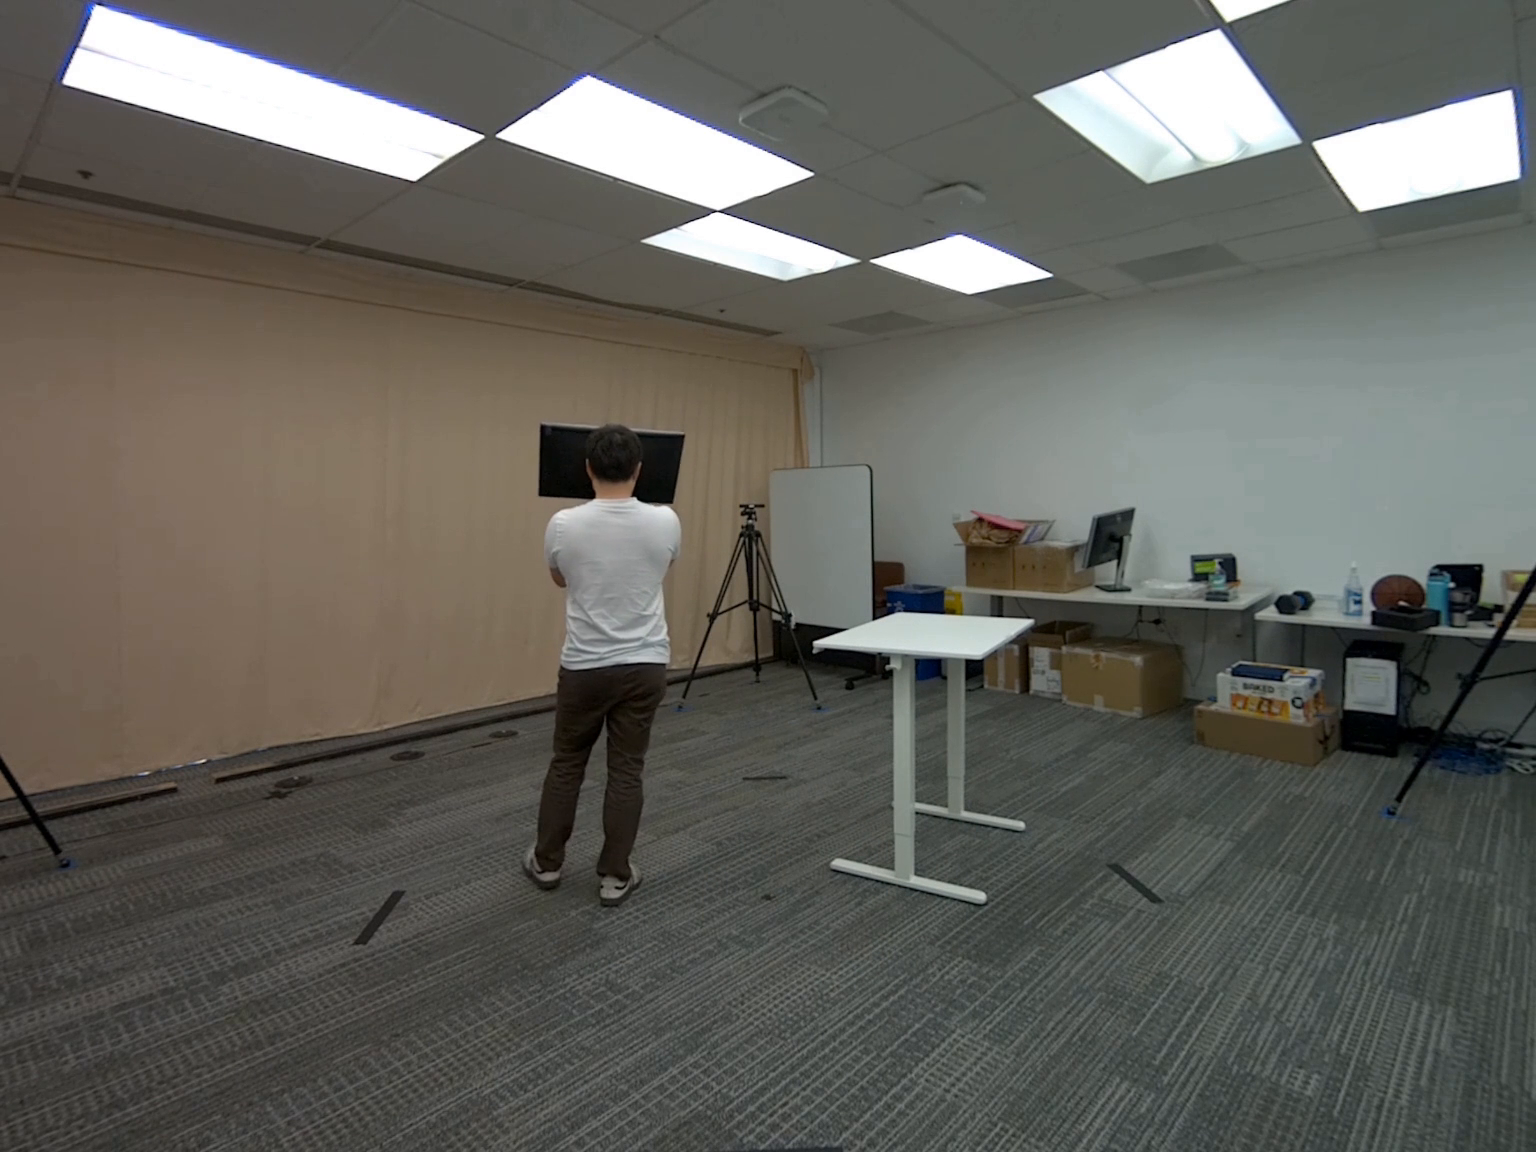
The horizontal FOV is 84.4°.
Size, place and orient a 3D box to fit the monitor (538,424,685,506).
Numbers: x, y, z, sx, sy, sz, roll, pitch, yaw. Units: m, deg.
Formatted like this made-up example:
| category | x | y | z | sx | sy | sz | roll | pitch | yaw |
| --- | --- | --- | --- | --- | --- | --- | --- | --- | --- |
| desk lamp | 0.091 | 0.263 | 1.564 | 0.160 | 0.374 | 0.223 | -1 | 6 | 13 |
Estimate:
| category | x | y | z | sx | sy | sz | roll | pitch | yaw |
| --- | --- | --- | --- | --- | --- | --- | --- | --- | --- |
| monitor | -0.615 | -0.332 | 3.241 | 0.531 | 0.517 | 0.192 | 2 | 30 | -14 |
